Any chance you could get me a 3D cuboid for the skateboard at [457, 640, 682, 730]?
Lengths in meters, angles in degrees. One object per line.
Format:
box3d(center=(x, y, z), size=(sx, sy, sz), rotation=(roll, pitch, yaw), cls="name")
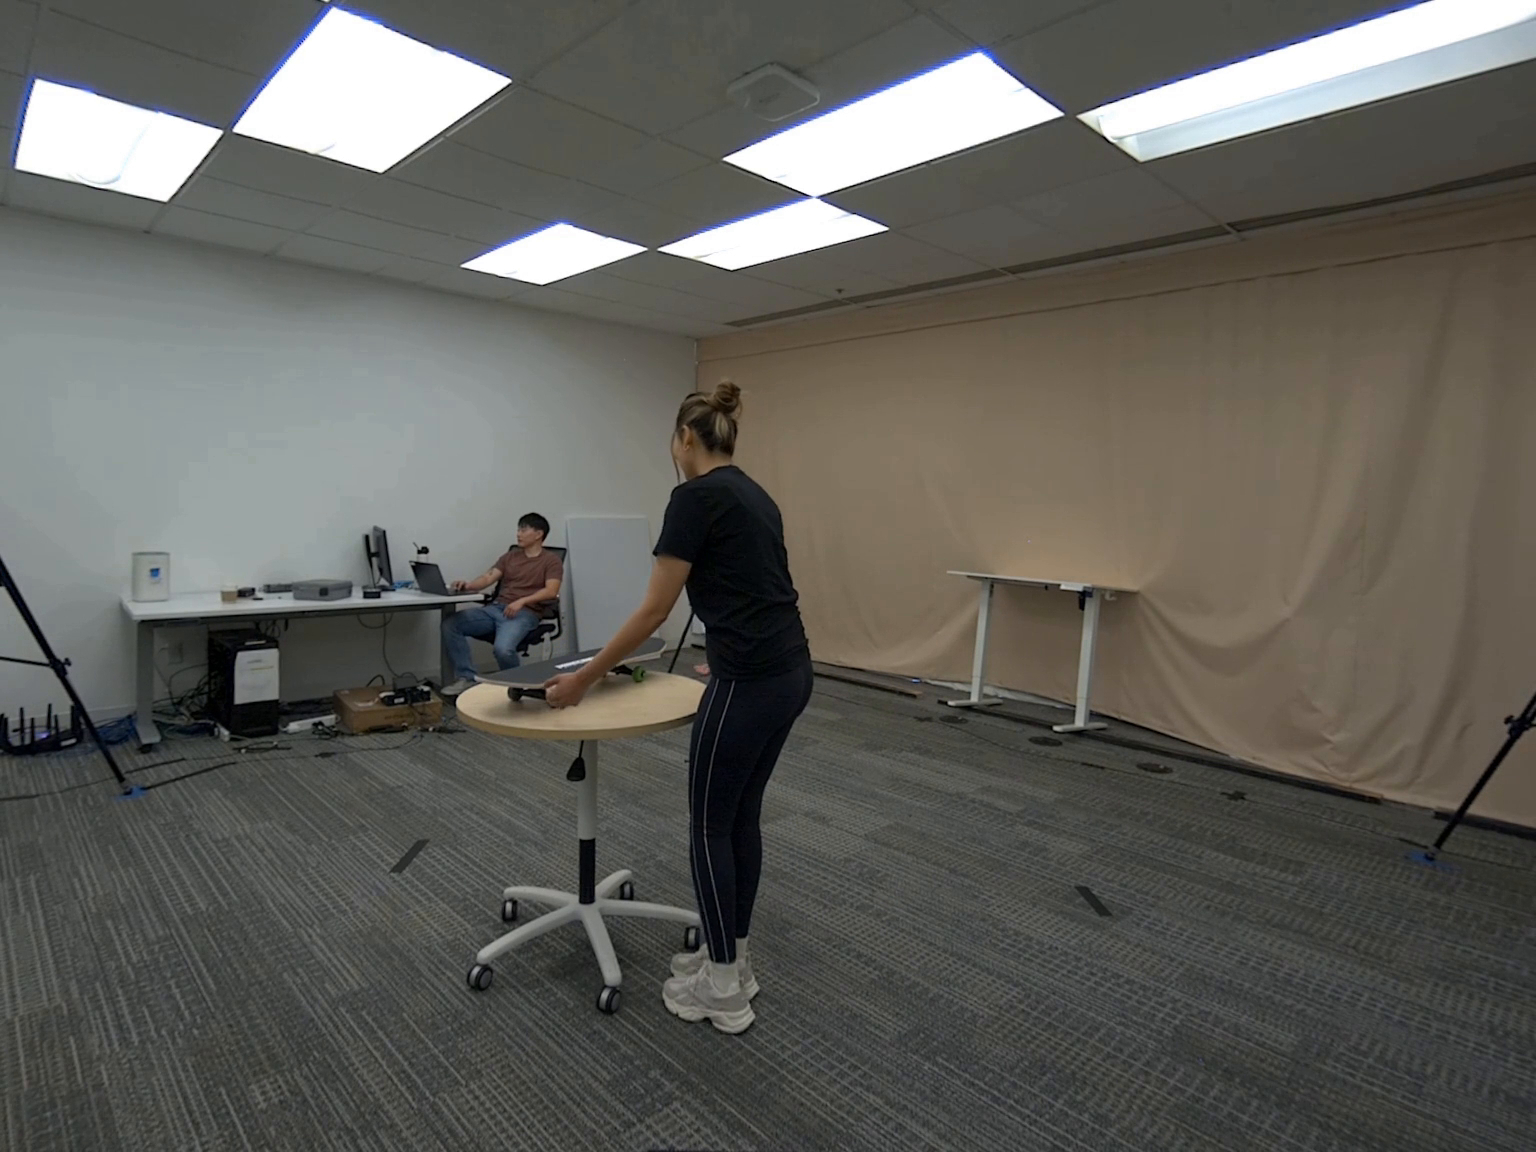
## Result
box3d(center=(-0.570, 0.310, 2.583), size=(0.198, 0.110, 0.771), rotation=(4, 6, 29), cls="skateboard")
